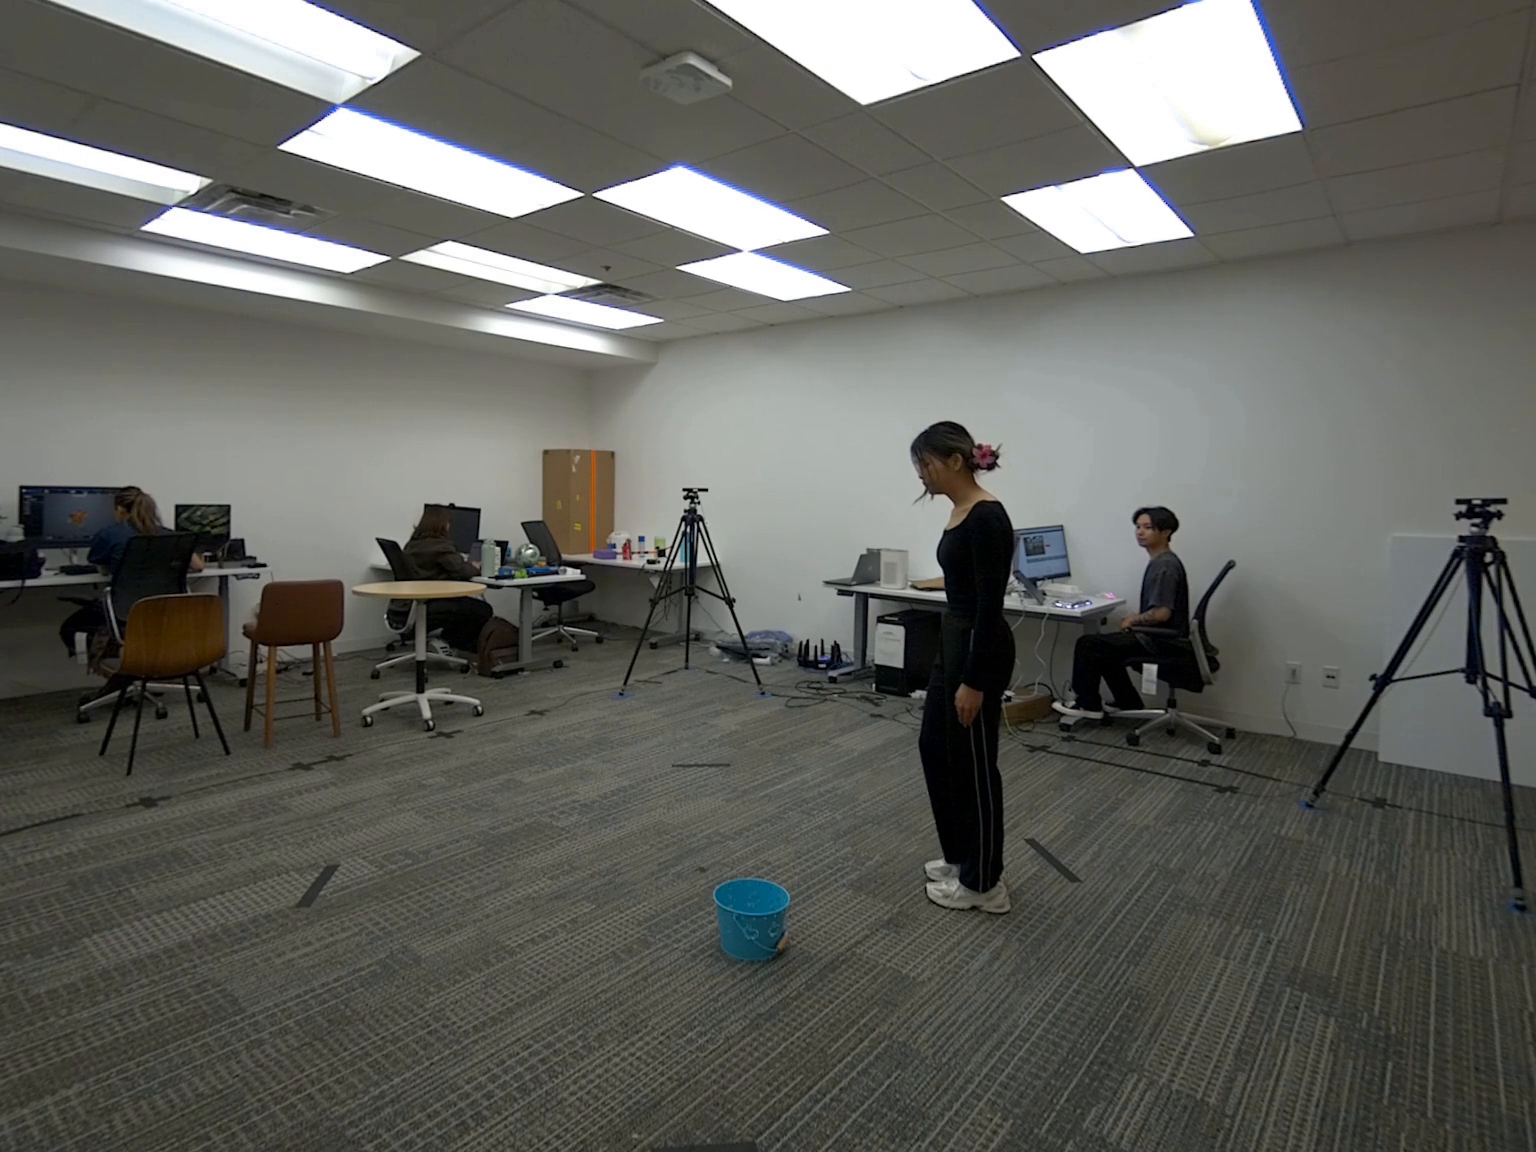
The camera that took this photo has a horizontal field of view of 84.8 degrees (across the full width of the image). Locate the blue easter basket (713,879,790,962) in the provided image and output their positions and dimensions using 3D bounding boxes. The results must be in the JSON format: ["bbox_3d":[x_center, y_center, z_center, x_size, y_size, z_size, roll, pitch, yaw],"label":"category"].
[{"bbox_3d":[-0.059,1.047,2.588,0.243,0.155,0.245,0,5,-2],"label":"blue easter basket"}]
